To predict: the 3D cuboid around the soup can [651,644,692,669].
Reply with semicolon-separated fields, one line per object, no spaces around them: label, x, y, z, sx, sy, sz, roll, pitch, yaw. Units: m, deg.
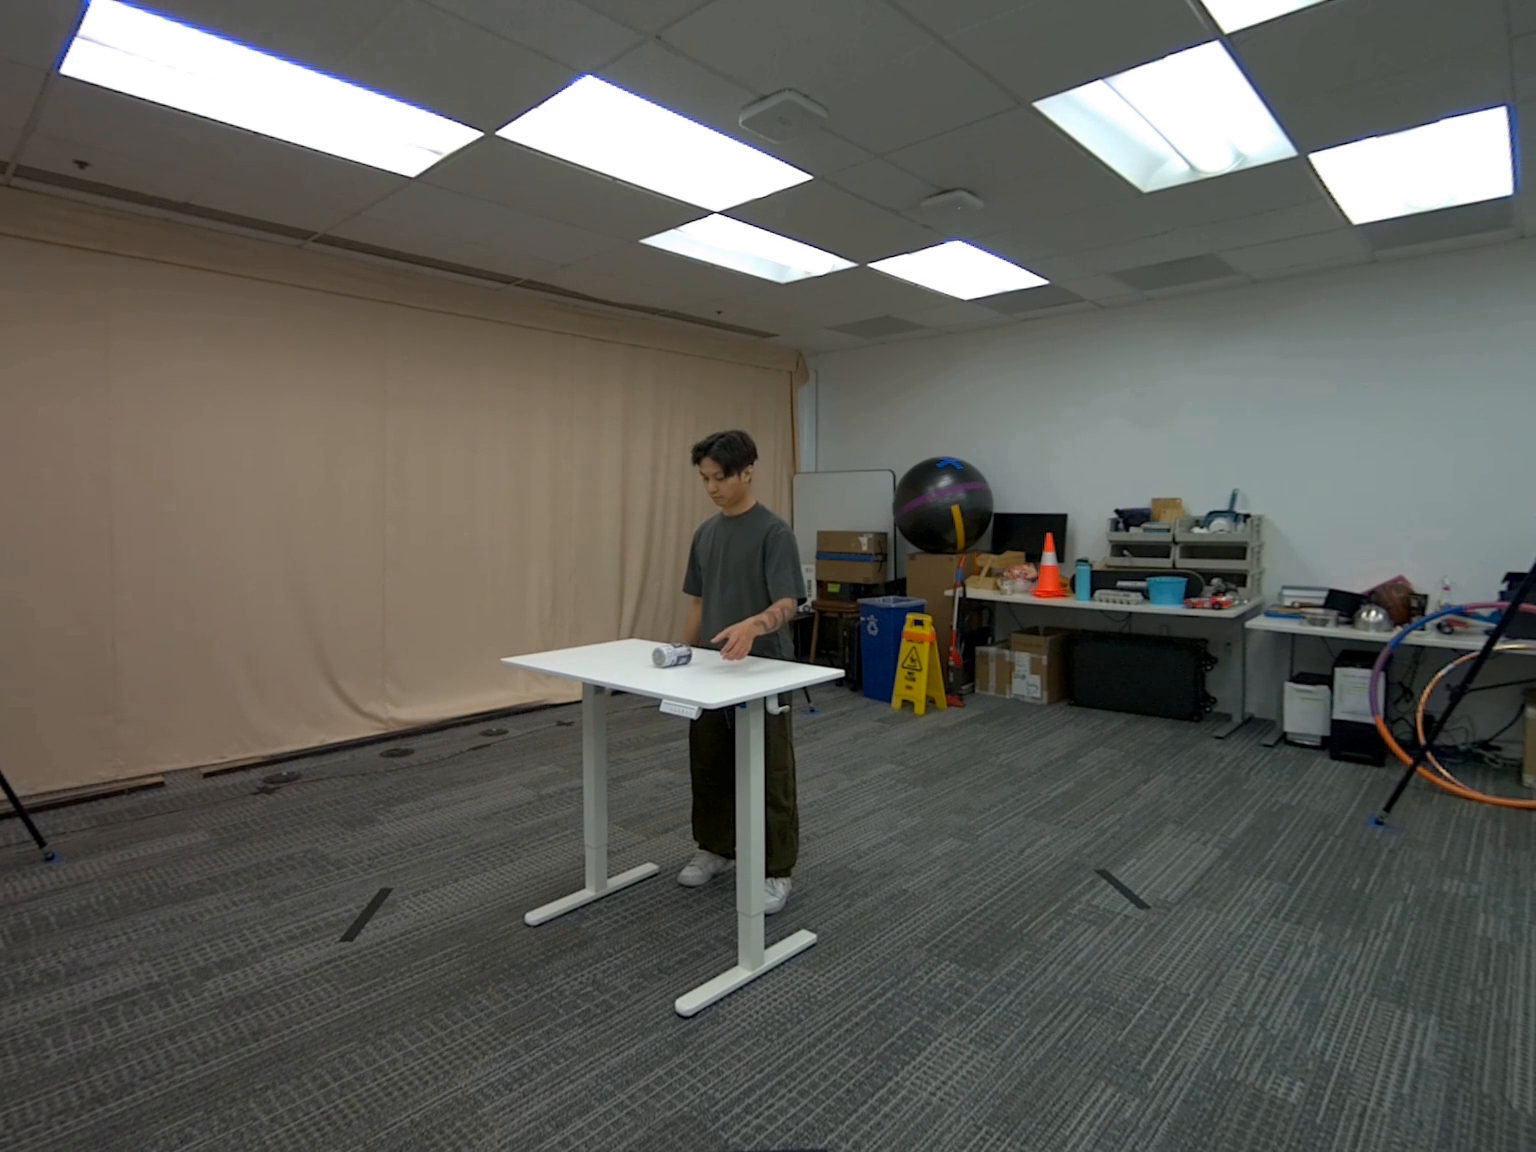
soup can;-0.312;0.256;2.703;0.069;0.067;0.118;3;4;41
